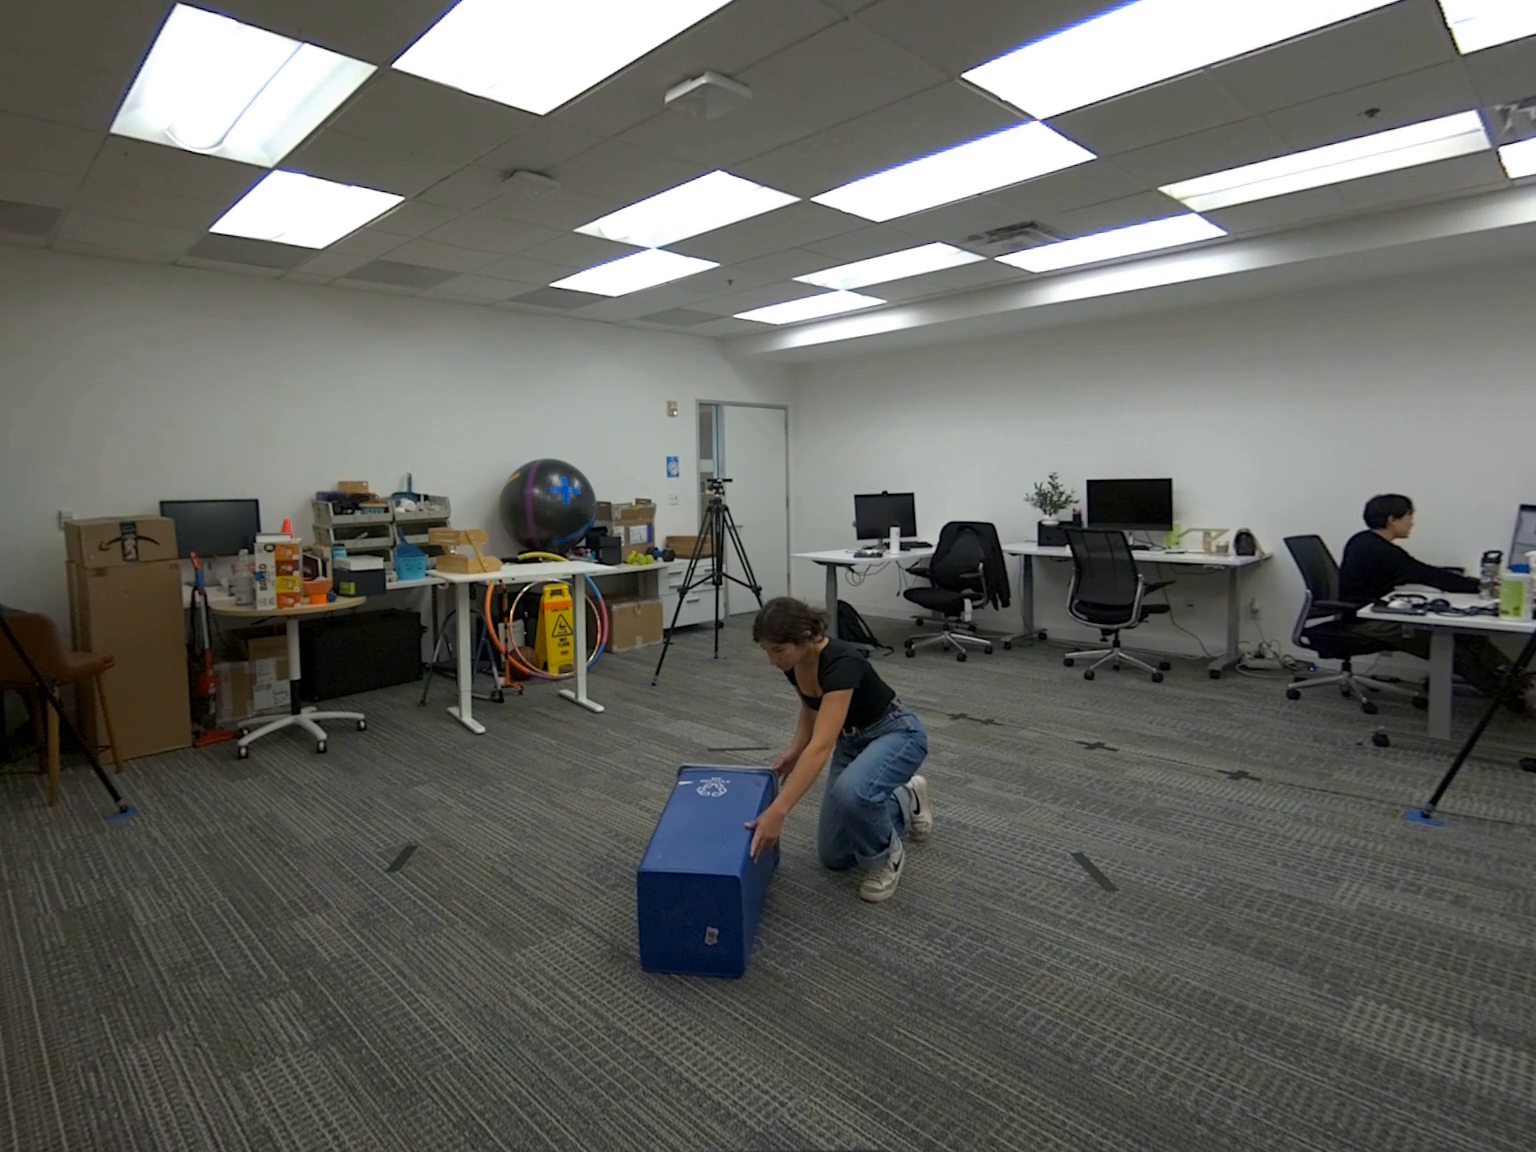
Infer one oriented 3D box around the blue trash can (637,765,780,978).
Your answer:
[{"bbox_3d":[-0.174,0.923,2.744,0.377,0.375,0.713,0,9,6],"label":"blue trash can"}]
